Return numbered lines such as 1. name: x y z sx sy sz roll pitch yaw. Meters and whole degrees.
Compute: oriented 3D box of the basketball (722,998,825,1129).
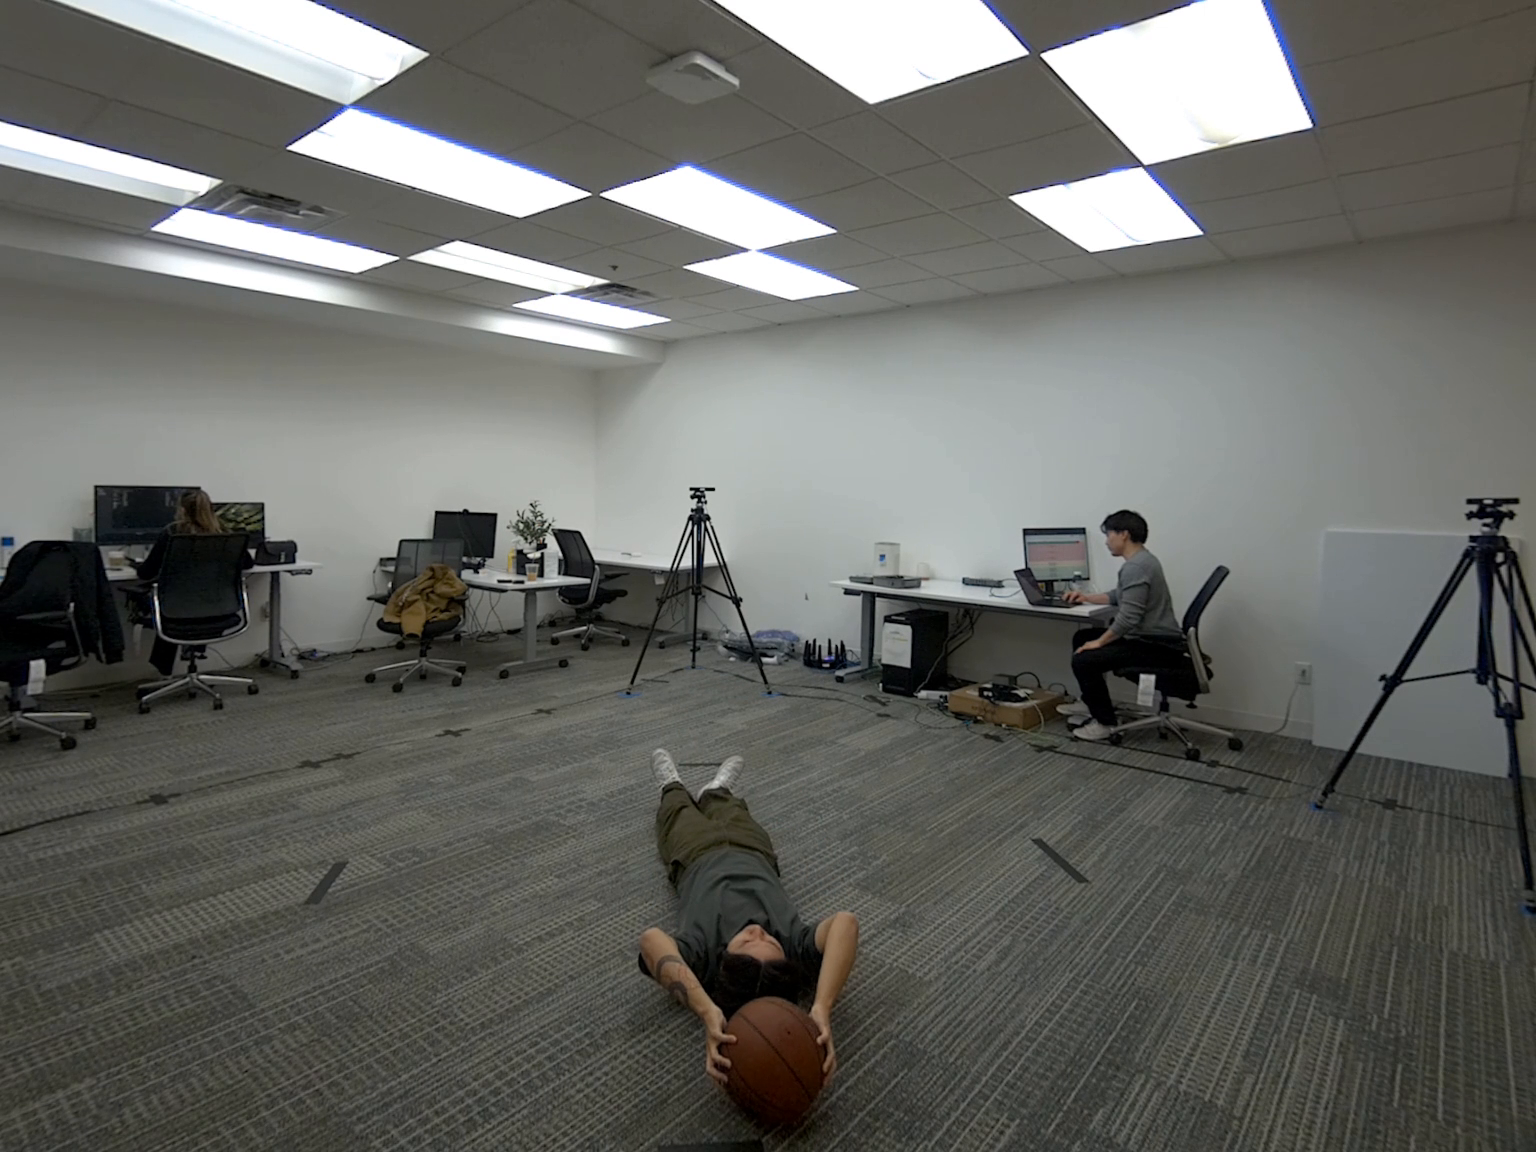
1. basketball: 0.003 1.072 1.899 0.235 0.235 0.237 1 4 -2
